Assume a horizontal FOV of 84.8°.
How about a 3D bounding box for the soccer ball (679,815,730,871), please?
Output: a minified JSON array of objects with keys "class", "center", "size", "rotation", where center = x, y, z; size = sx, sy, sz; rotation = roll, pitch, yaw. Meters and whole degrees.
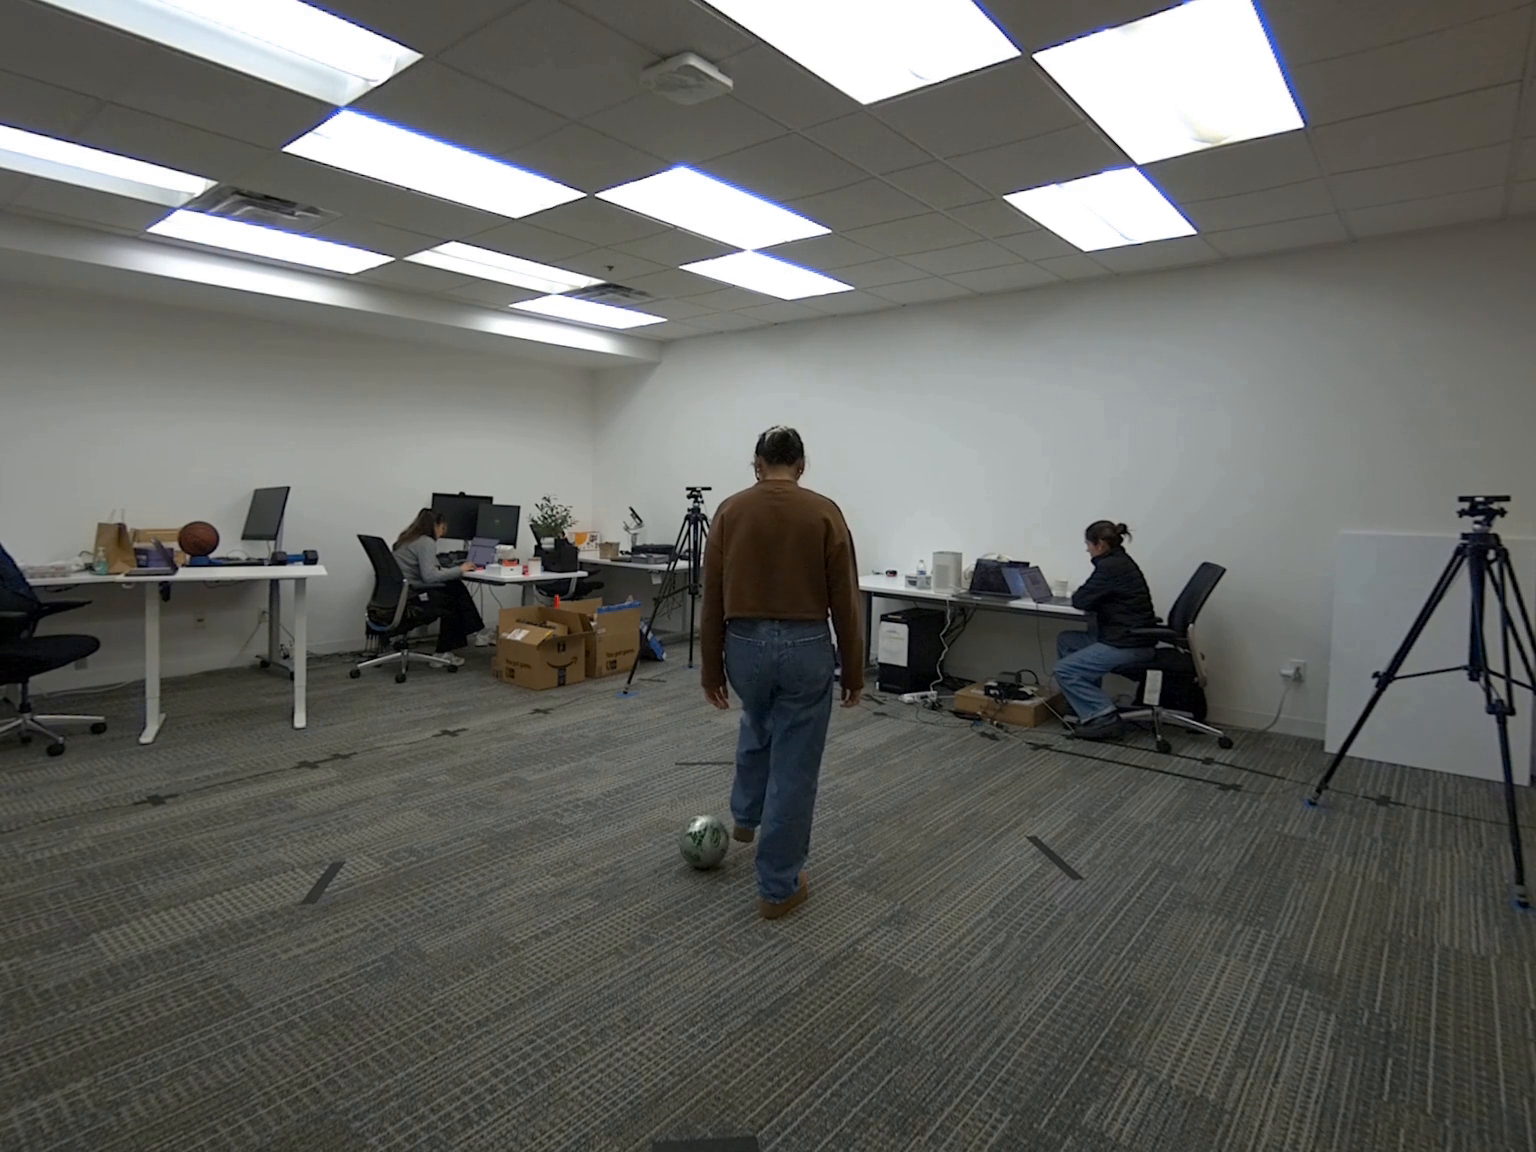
[{"class":"soccer ball","center":[-0.245,0.972,3.120],"size":[0.187,0.187,0.188],"rotation":[1,4,-2]}]
